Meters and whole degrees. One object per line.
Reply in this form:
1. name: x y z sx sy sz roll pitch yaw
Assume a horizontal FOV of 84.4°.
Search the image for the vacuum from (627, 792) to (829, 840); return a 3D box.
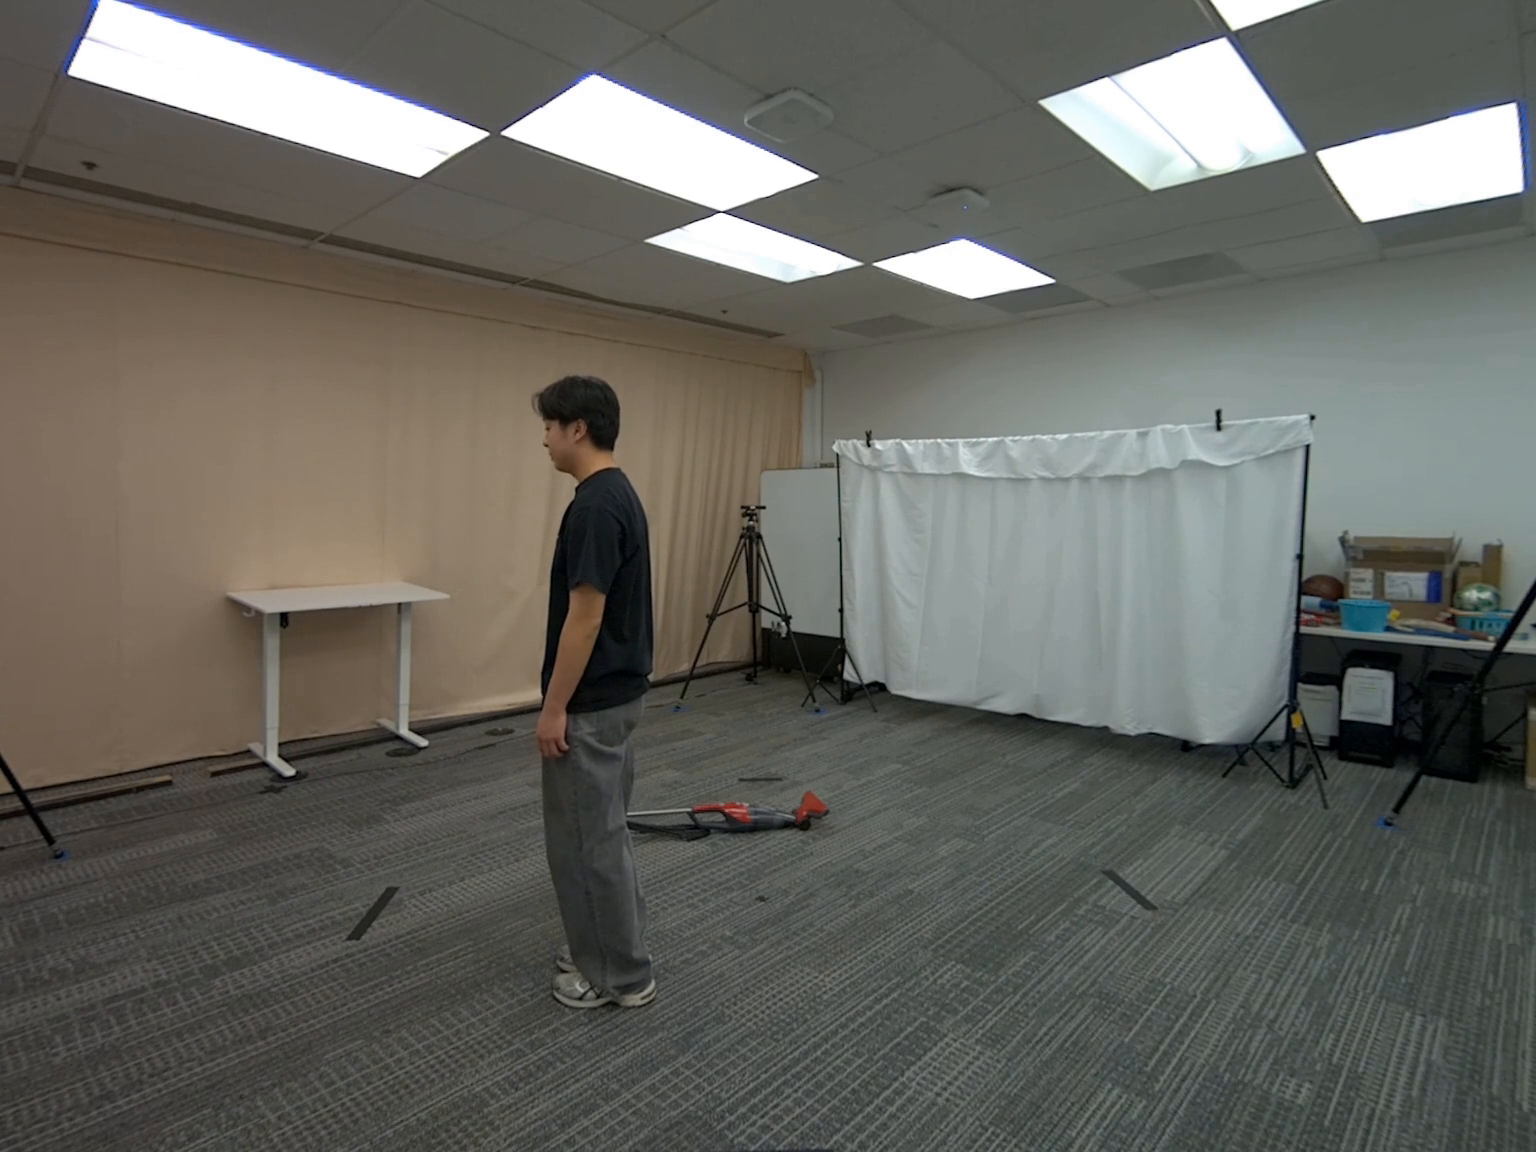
1. vacuum: -0.325 1.039 3.562 1.037 0.144 0.256 -2 2 -11
